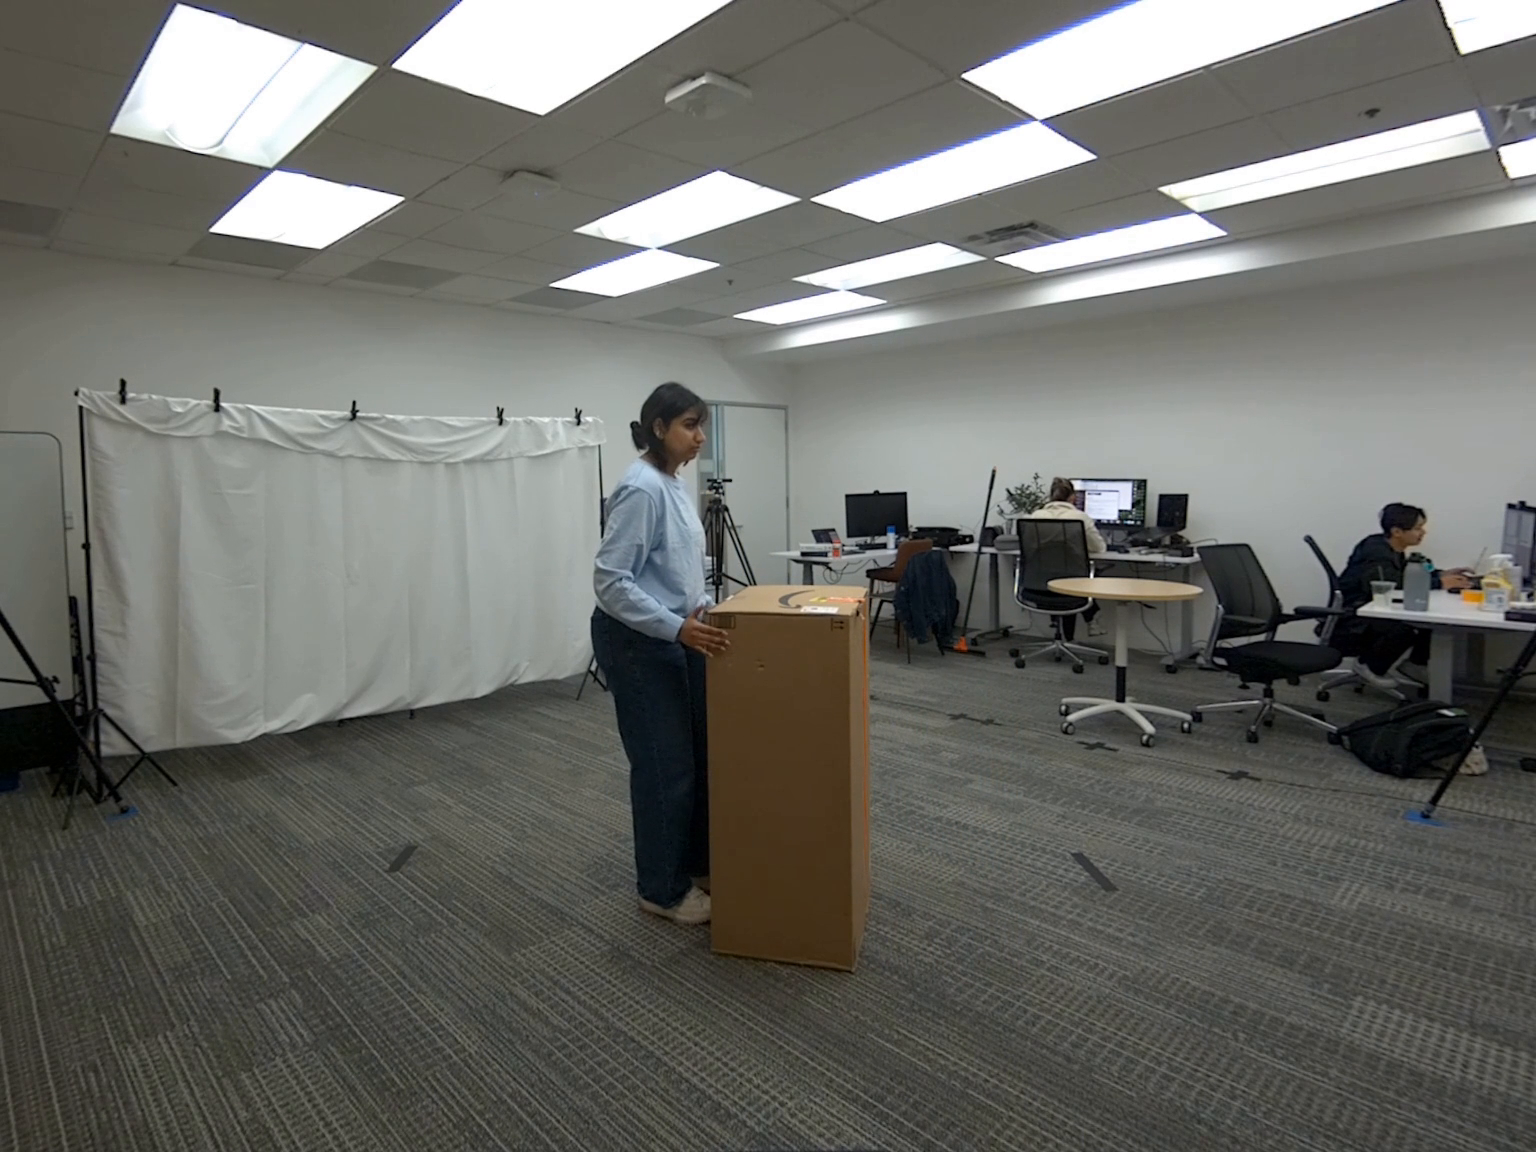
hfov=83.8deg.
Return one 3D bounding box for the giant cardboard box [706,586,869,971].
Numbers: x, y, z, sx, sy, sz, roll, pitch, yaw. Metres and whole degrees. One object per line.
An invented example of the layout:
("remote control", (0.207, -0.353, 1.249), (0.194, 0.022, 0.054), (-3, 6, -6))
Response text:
("giant cardboard box", (0.089, 0.580, 2.712), (0.432, 1.022, 0.572), (0, 4, 12))
